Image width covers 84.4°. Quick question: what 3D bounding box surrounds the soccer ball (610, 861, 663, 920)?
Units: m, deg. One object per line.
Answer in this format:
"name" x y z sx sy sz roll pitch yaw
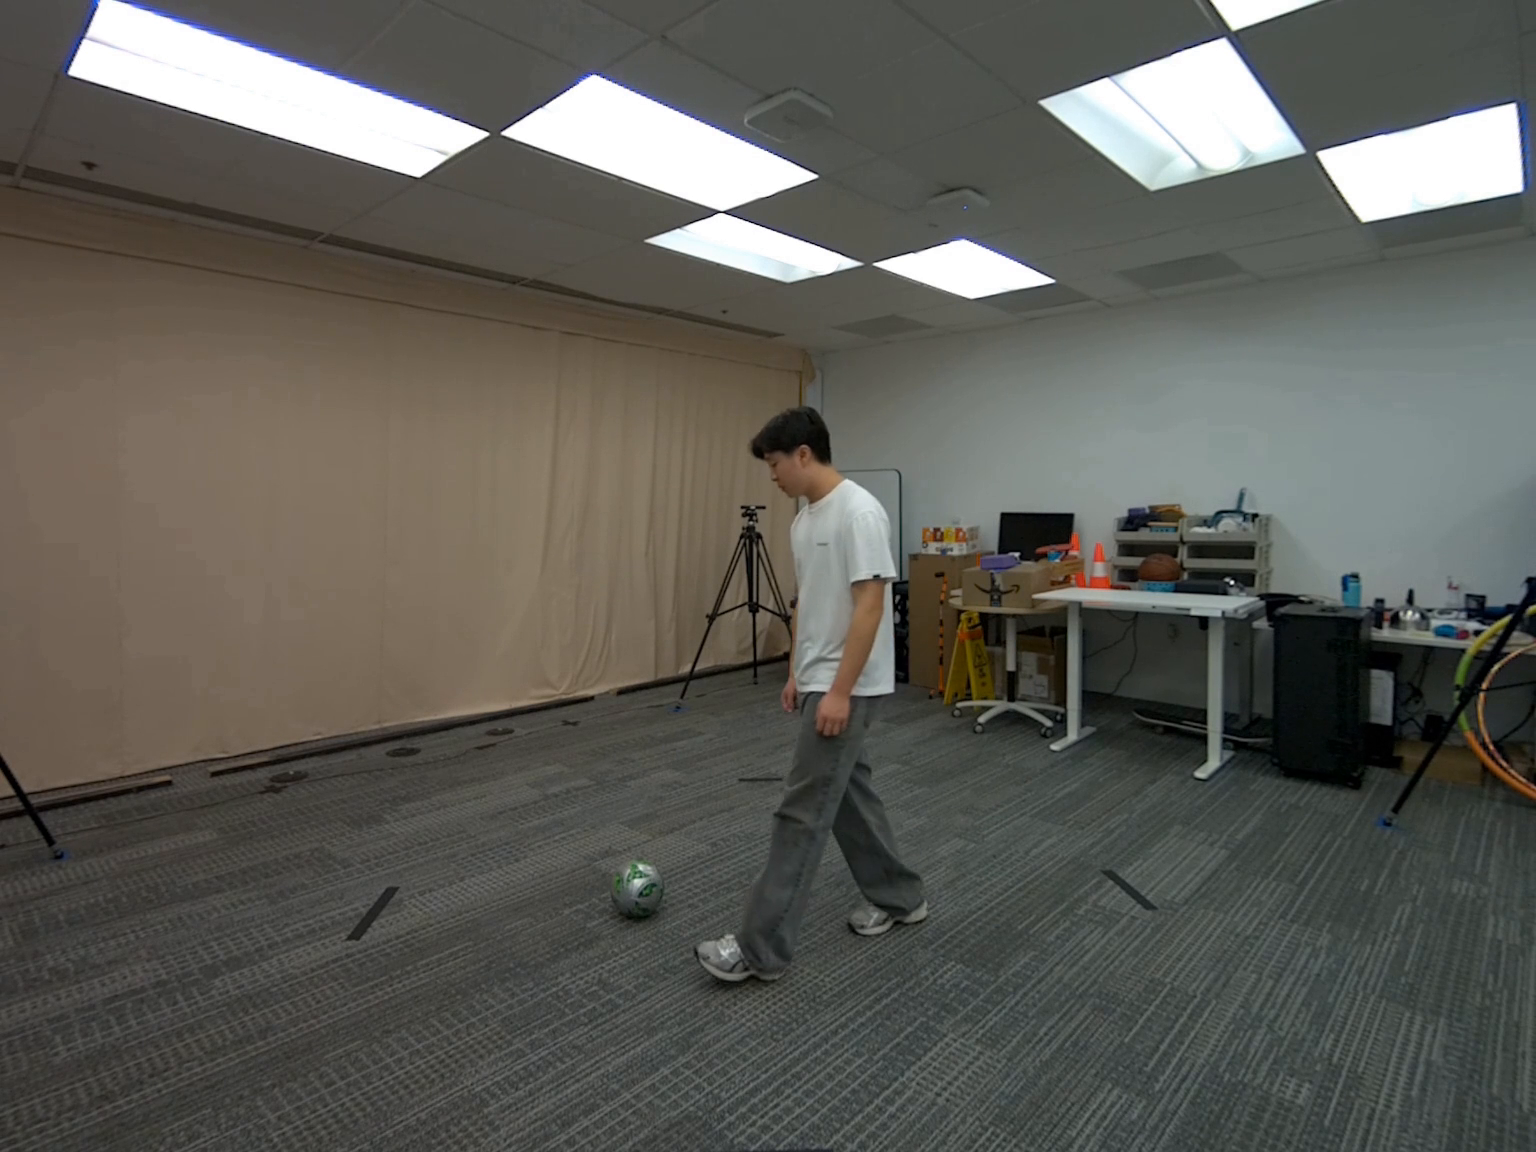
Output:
"soccer ball" -0.443 1.064 2.870 0.187 0.187 0.188 0 4 -2
